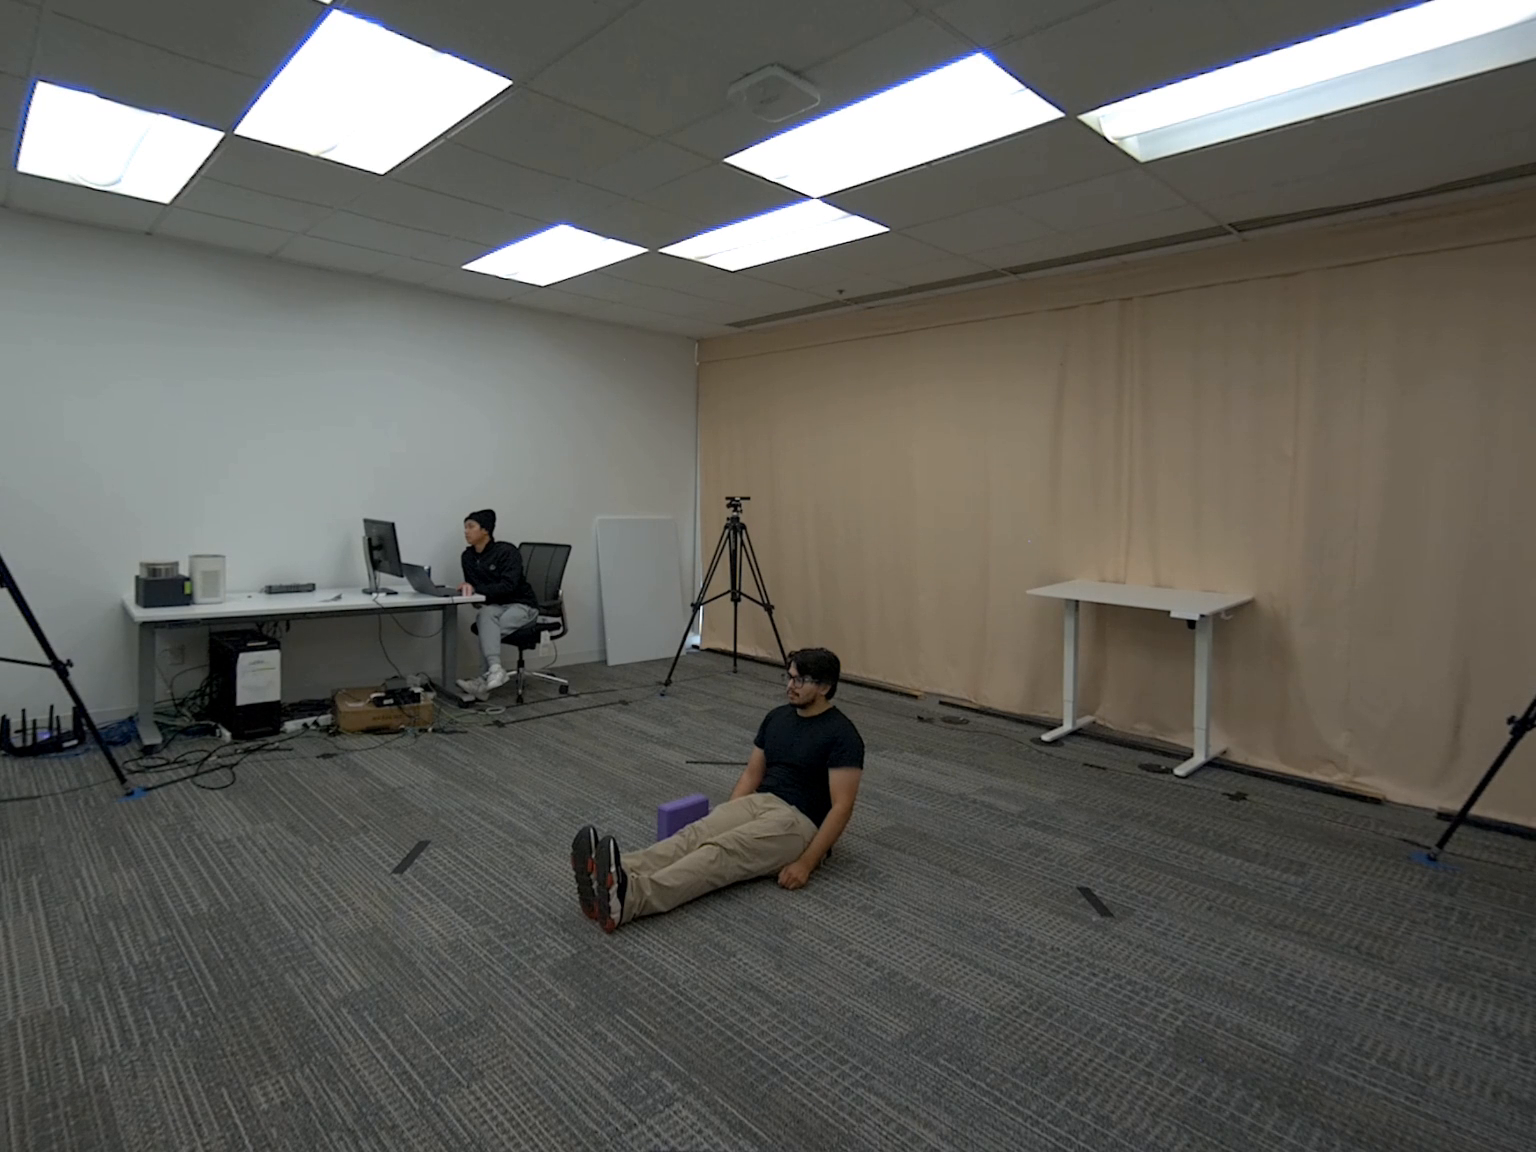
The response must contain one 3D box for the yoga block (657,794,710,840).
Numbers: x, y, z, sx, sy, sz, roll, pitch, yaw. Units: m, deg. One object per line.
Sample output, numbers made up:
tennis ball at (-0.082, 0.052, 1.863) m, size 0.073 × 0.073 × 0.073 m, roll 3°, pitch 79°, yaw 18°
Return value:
yoga block at (-0.351, 0.991, 3.460) m, size 0.078 × 0.148 × 0.224 m, roll 3°, pitch 5°, yaw 44°
